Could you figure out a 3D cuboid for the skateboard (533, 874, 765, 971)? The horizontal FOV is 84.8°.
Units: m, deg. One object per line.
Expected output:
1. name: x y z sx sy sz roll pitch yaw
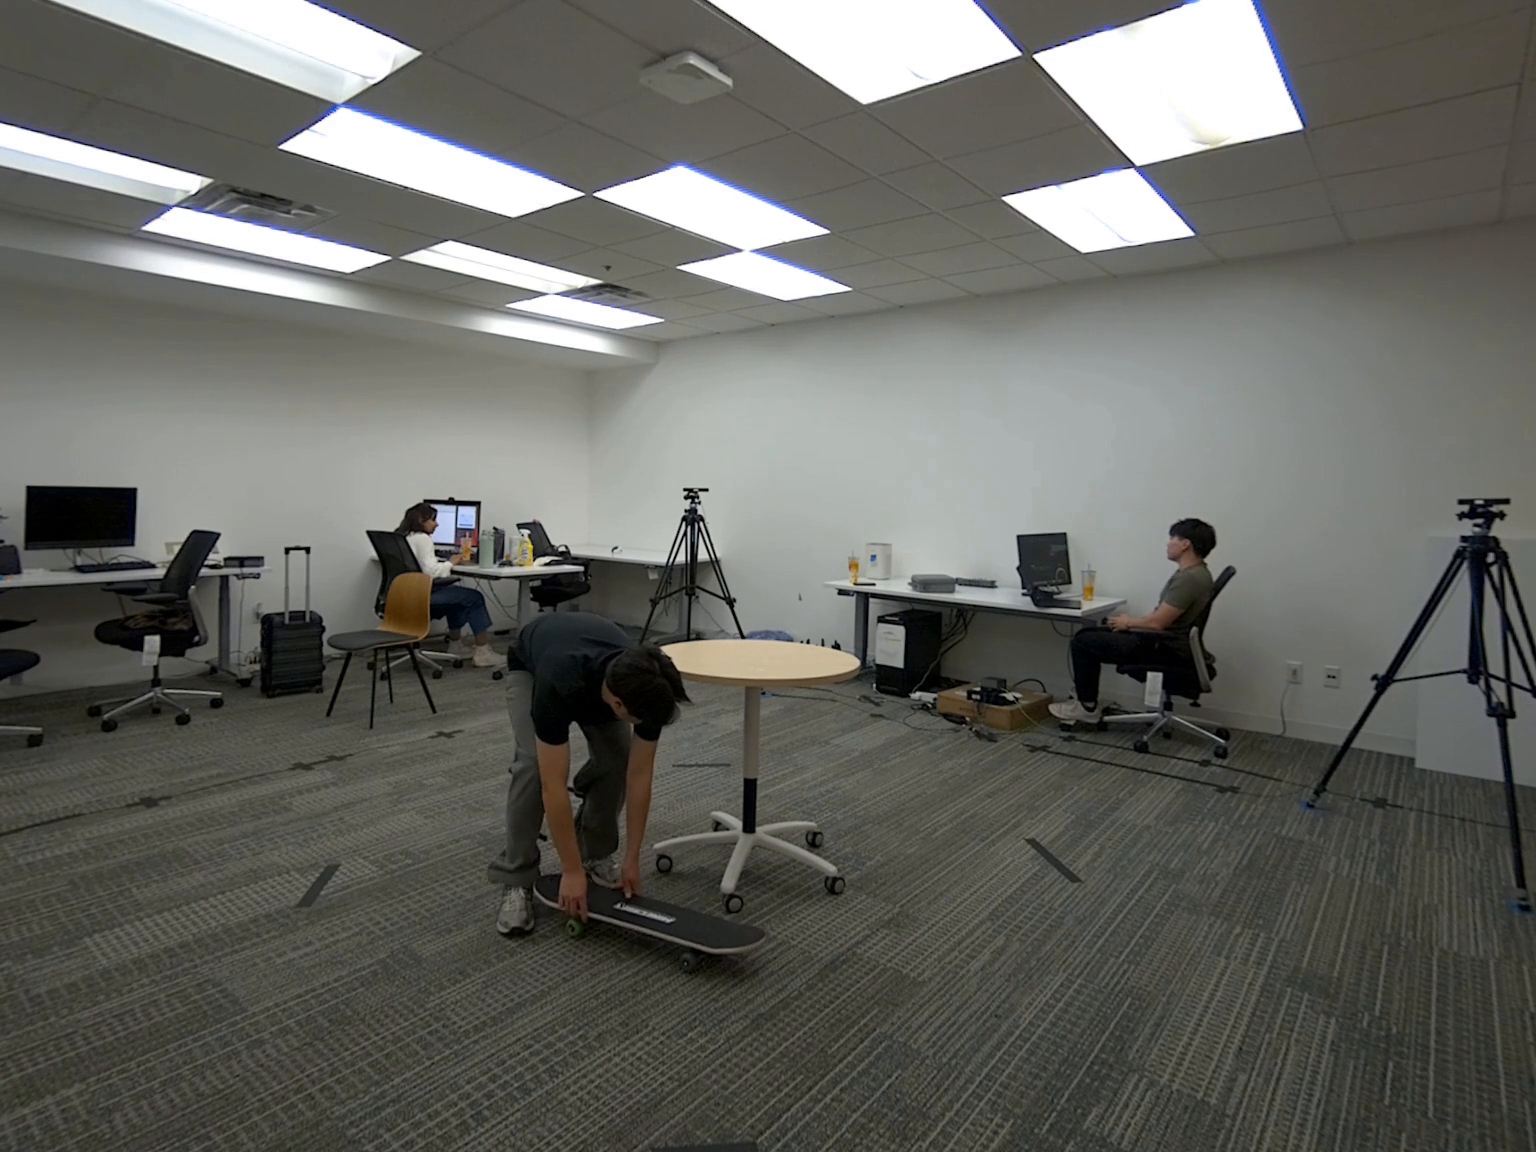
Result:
1. skateboard: -0.383 1.055 2.588 0.806 0.110 0.189 4 2 25
